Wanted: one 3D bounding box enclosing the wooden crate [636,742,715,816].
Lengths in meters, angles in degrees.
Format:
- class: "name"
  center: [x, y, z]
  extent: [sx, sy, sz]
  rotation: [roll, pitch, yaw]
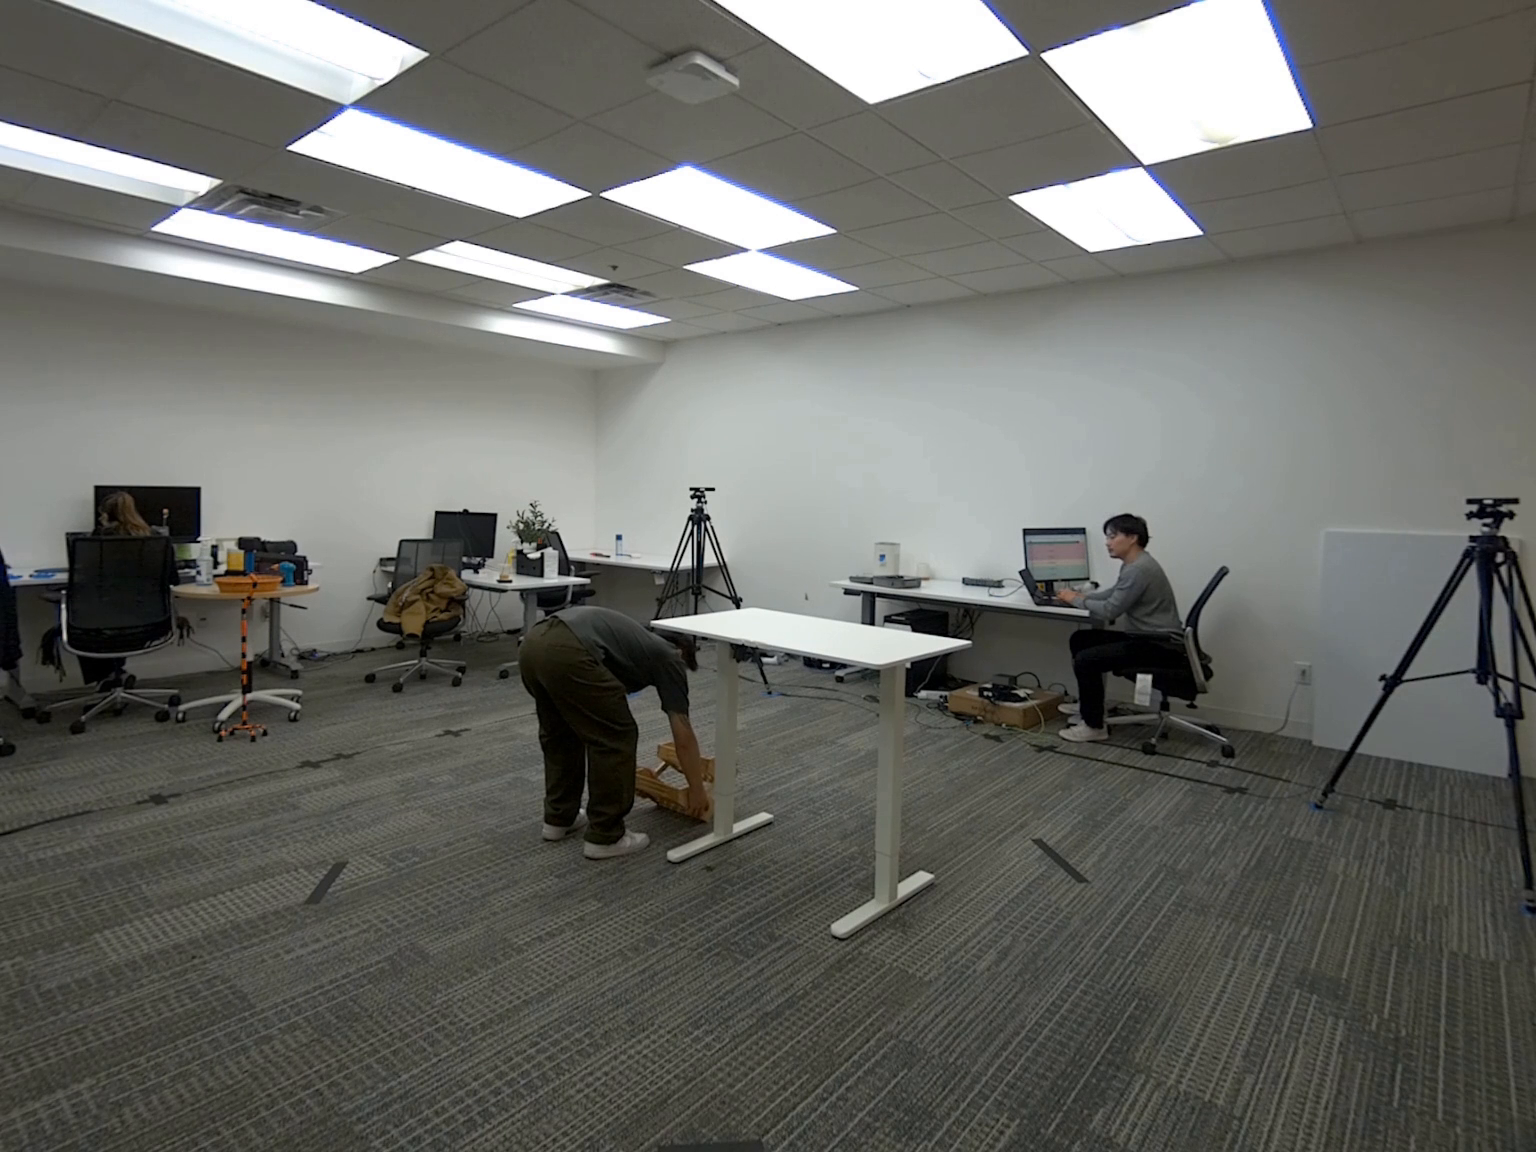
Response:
- class: "wooden crate"
  center: [-0.383, 0.852, 3.638]
  extent: [0.335, 0.276, 0.289]
  rotation: [6, -30, 39]
